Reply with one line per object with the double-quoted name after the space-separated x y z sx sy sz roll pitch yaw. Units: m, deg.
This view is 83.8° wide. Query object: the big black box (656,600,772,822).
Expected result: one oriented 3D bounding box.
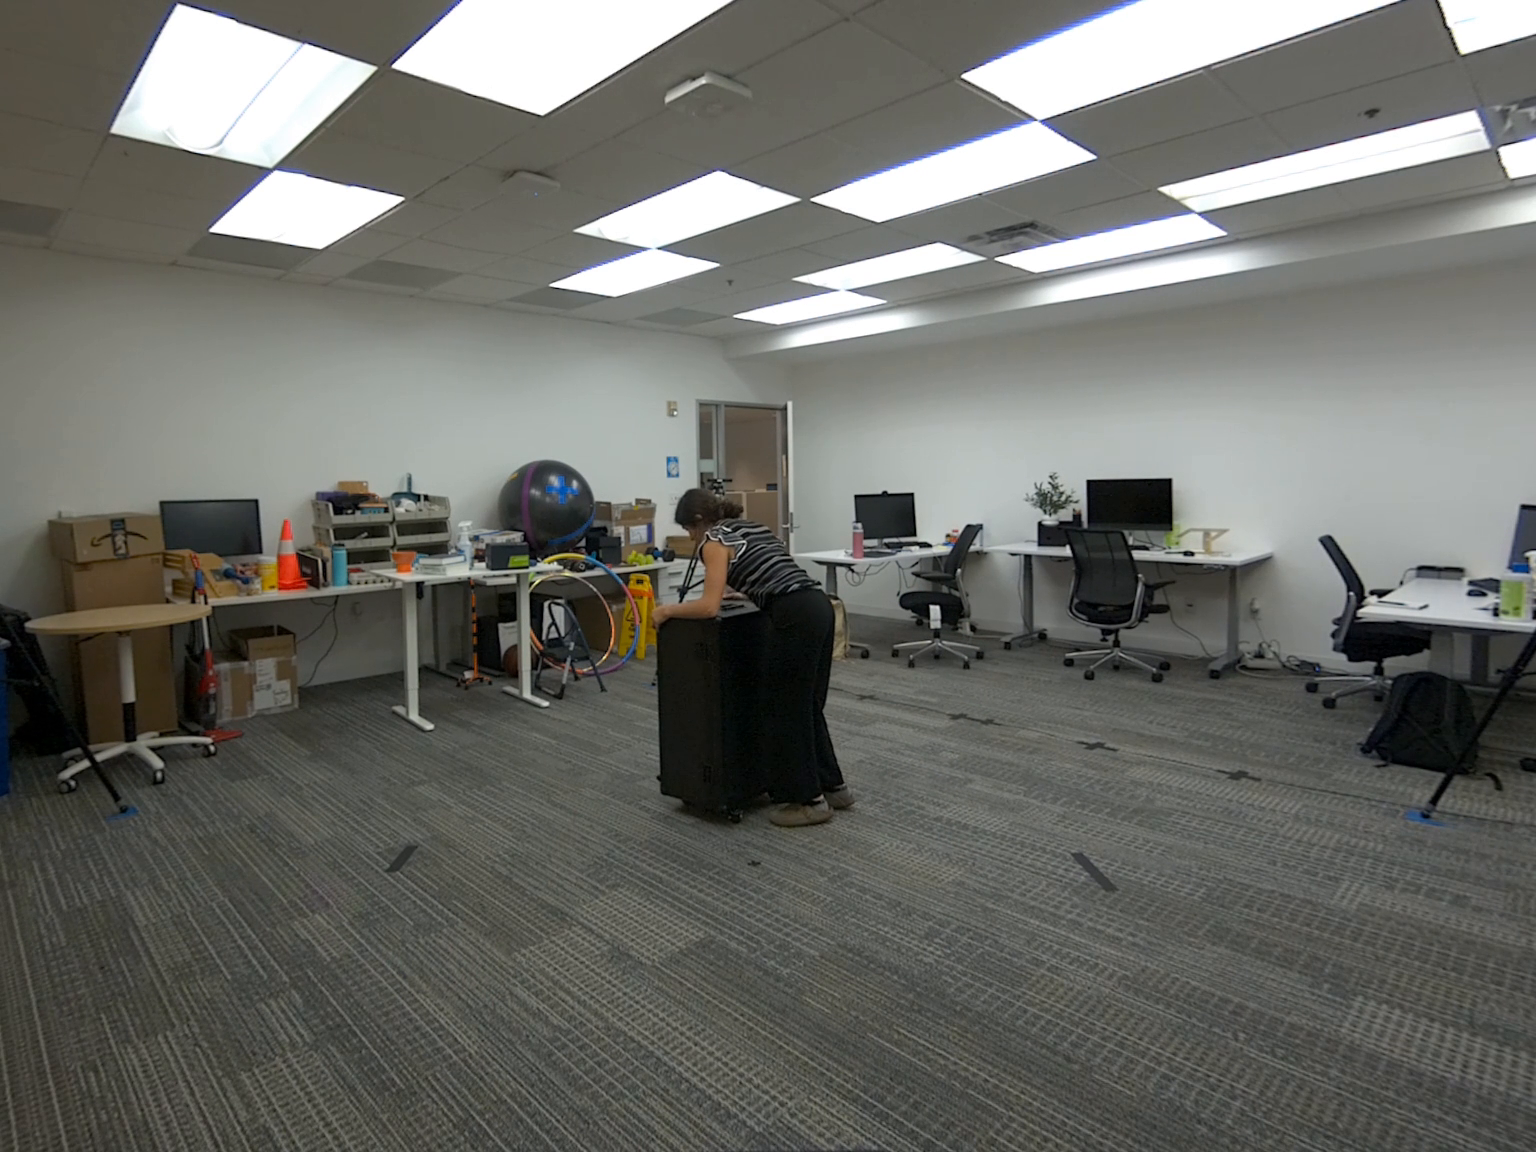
-0.197 0.567 3.673 0.407 0.859 0.508 0 4 38 "big black box"
